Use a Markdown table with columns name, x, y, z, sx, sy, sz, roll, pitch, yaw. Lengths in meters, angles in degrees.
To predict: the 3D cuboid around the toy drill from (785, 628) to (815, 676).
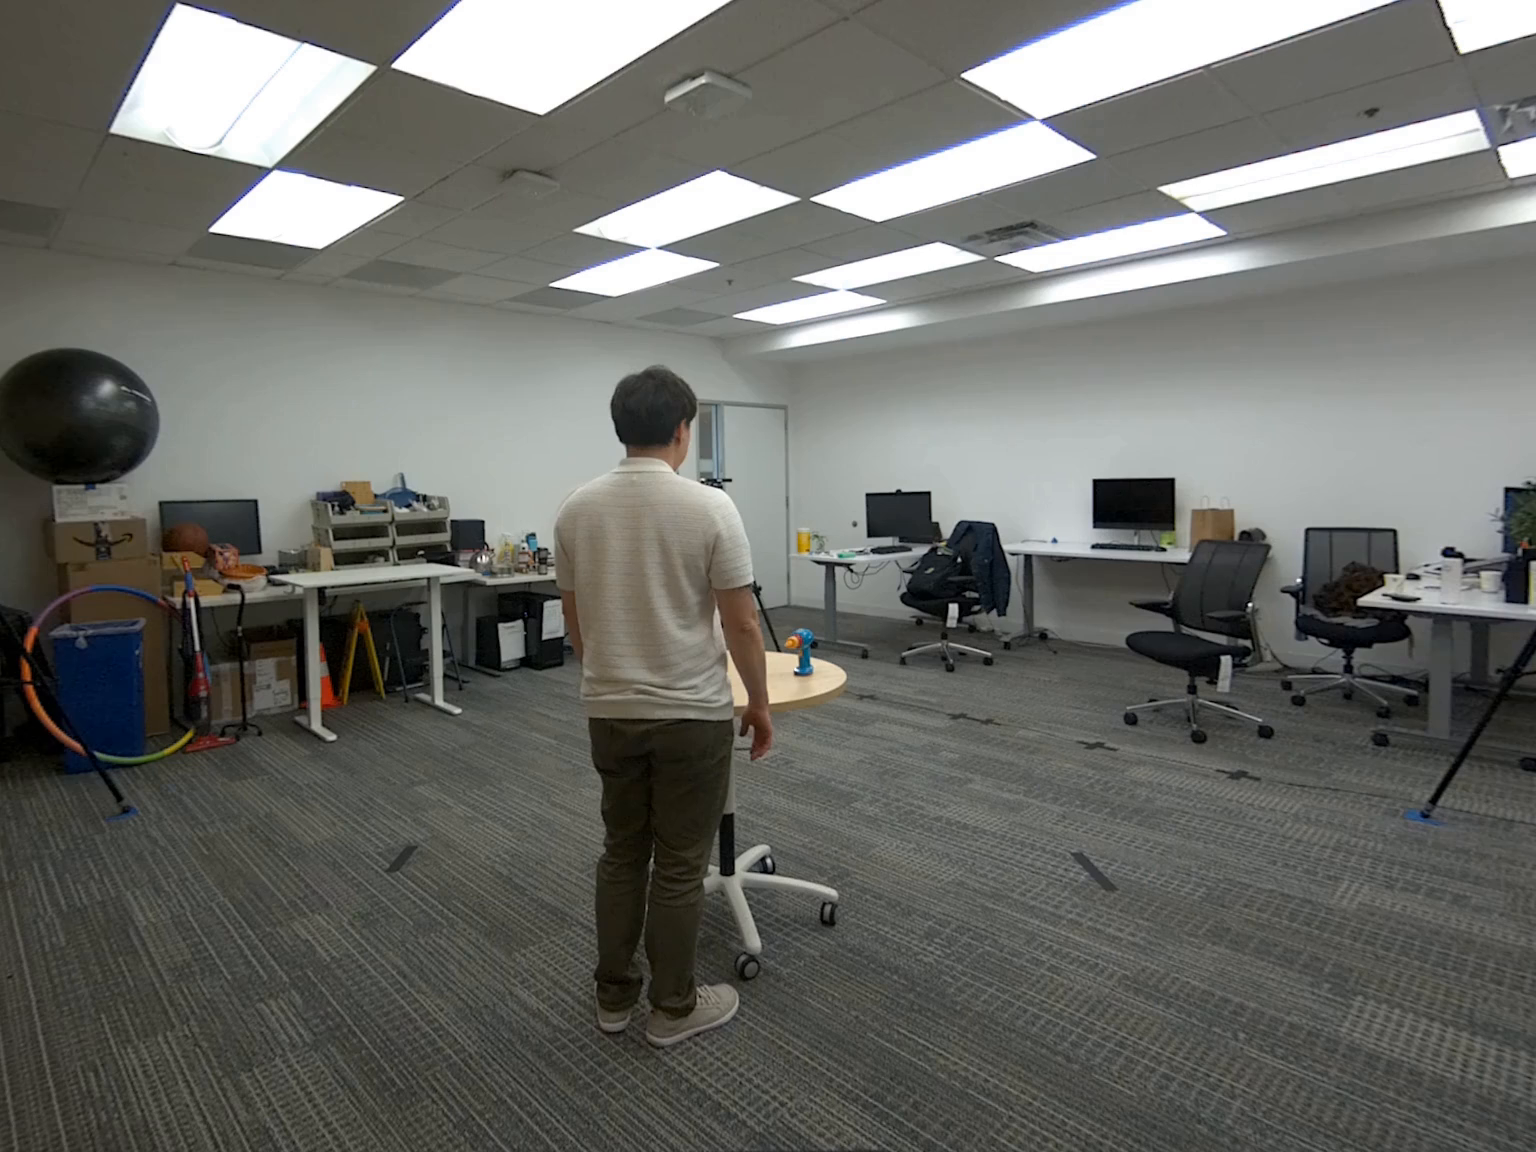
| name | x | y | z | sx | sy | sz | roll | pitch | yaw |
| --- | --- | --- | --- | --- | --- | --- | --- | --- | --- |
| toy drill | 0.099 | 0.239 | 2.635 | 0.062 | 0.145 | 0.167 | 5 | 9 | 24 |
